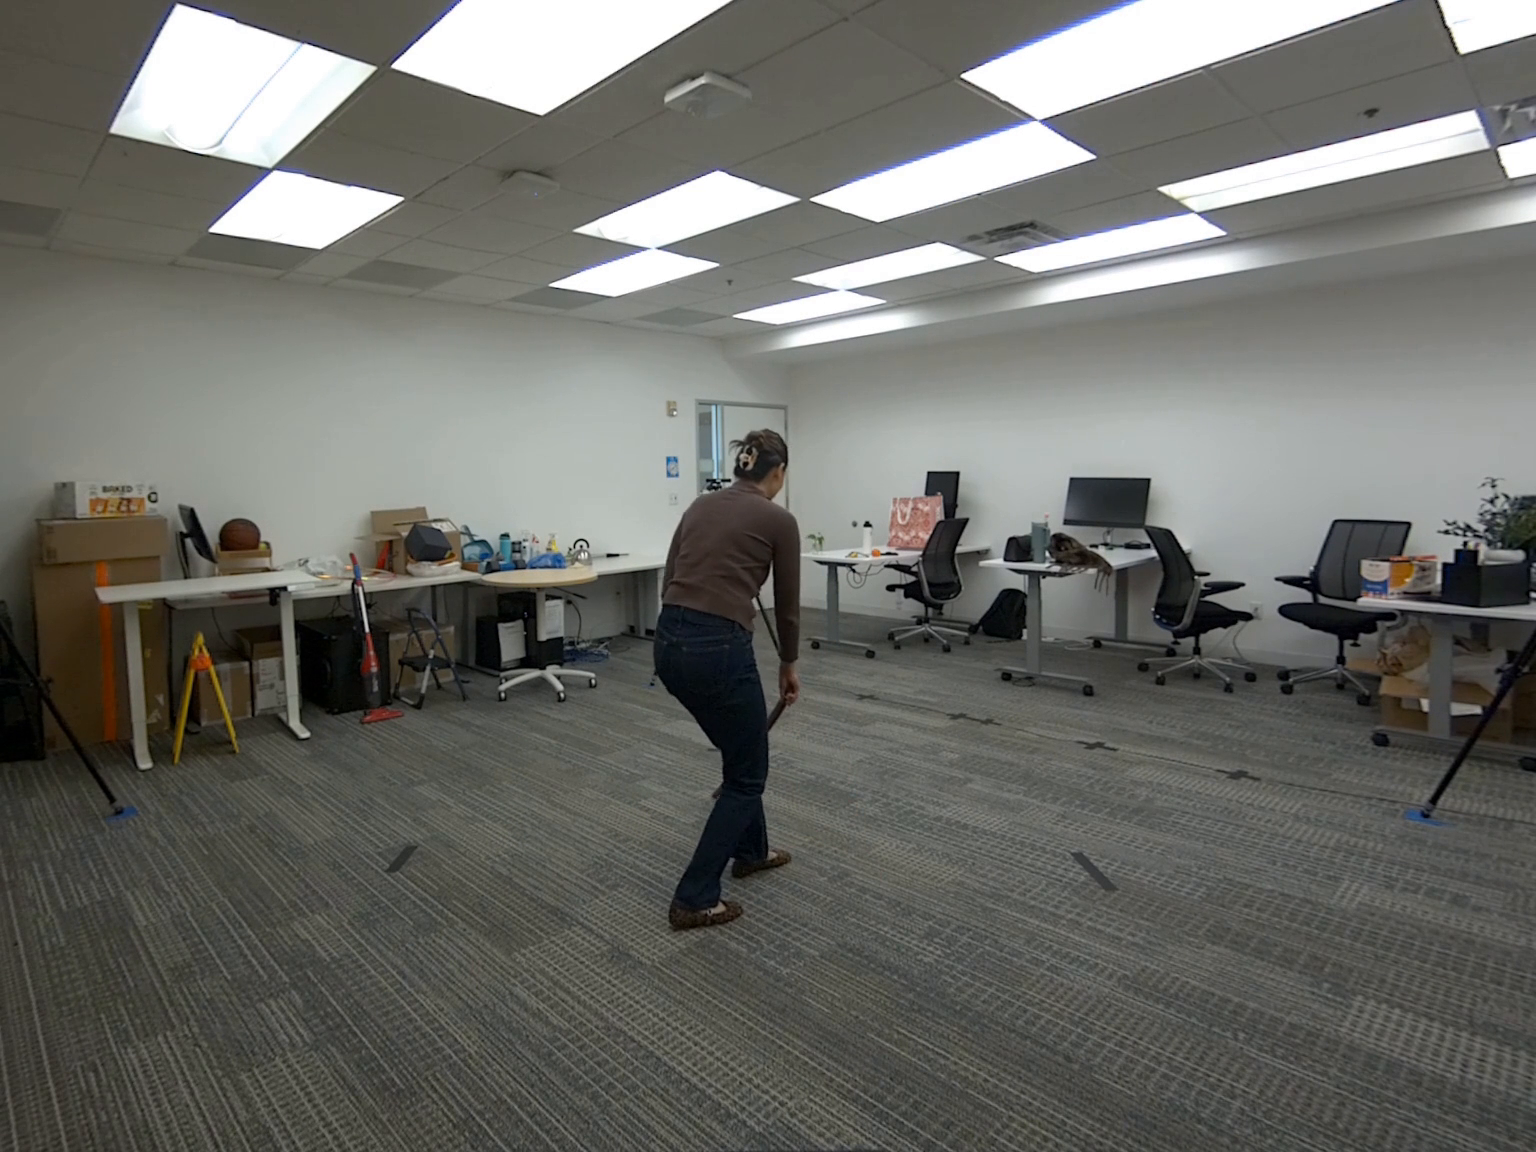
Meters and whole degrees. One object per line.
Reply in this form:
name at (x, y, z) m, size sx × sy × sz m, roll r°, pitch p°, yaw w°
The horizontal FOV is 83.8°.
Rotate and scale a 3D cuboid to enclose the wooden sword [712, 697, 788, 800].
wooden sword at (-0.071, 0.702, 3.383) m, size 0.024 × 0.051 × 1.016 m, roll 33°, pitch -40°, yaw 0°
